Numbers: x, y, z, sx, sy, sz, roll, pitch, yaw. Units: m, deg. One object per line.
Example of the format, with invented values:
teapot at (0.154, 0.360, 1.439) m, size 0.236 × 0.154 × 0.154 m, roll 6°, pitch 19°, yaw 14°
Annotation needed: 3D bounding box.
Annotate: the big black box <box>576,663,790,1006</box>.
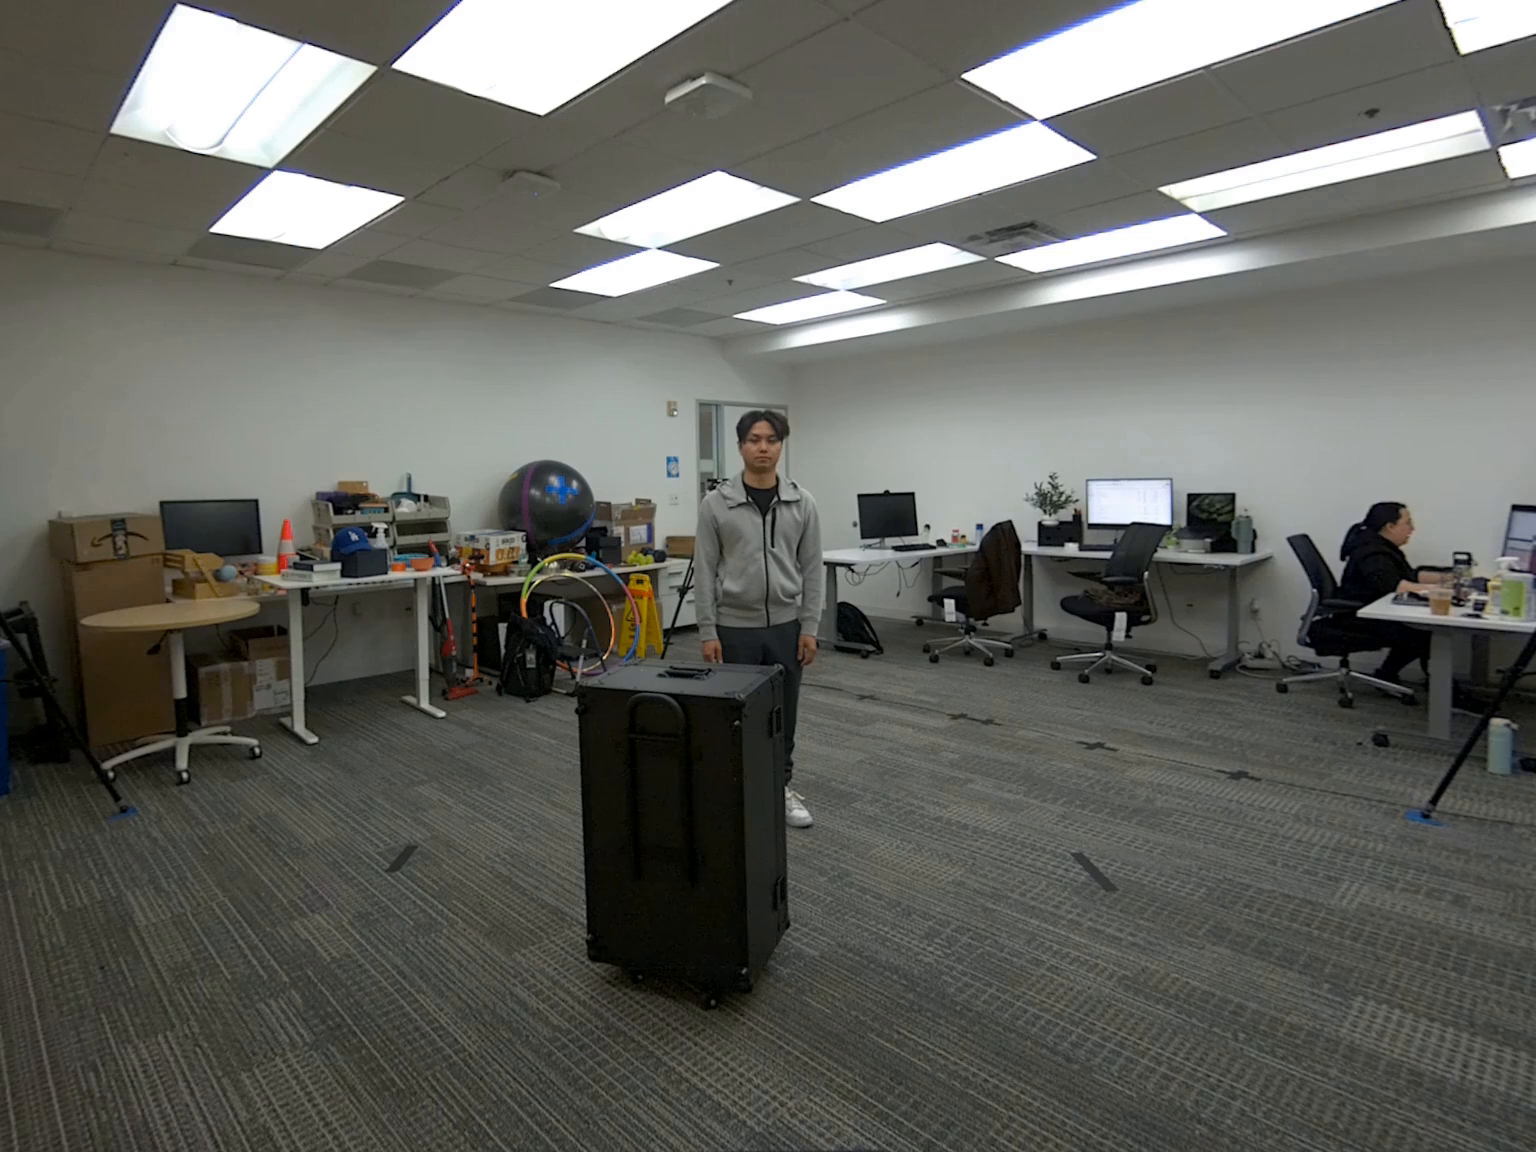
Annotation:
big black box at (-0.228, 0.702, 2.419) m, size 0.532 × 0.858 × 0.390 m, roll 0°, pitch 5°, yaw 21°
